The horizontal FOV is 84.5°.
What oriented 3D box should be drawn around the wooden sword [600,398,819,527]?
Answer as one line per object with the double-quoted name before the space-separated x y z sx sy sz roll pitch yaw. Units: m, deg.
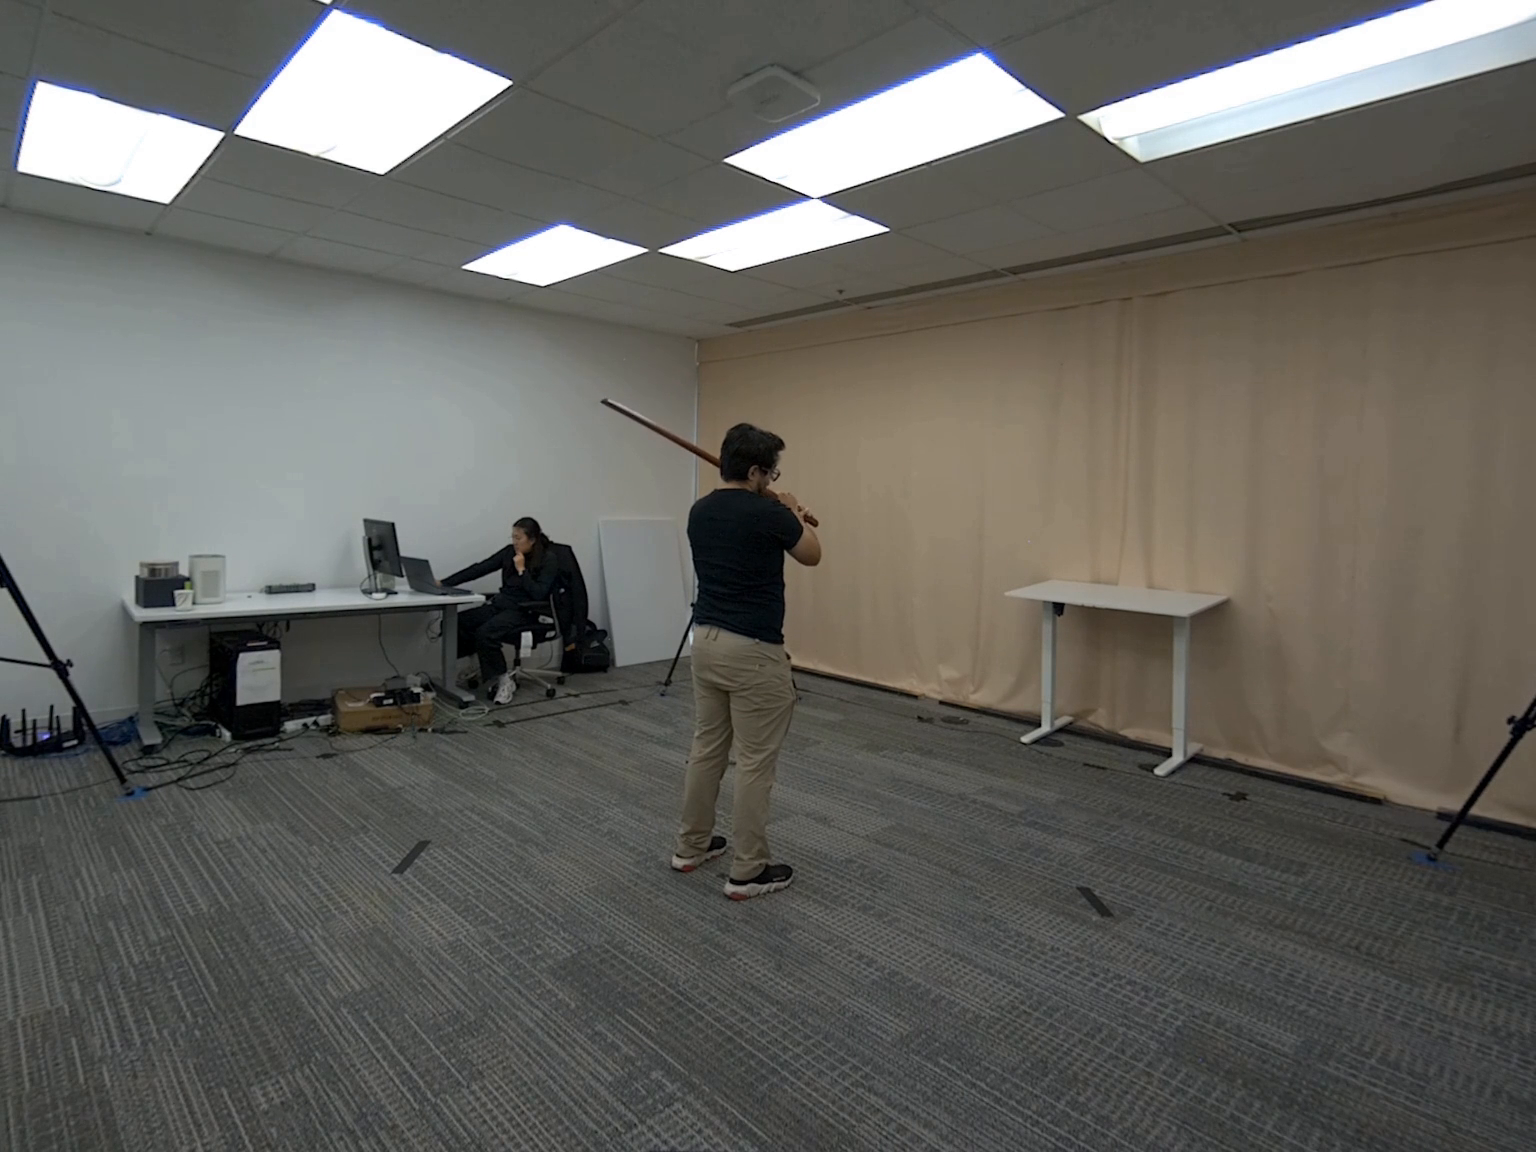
"wooden sword" -0.191 -0.411 3.178 0.998 0.051 0.025 28 -1 -29
